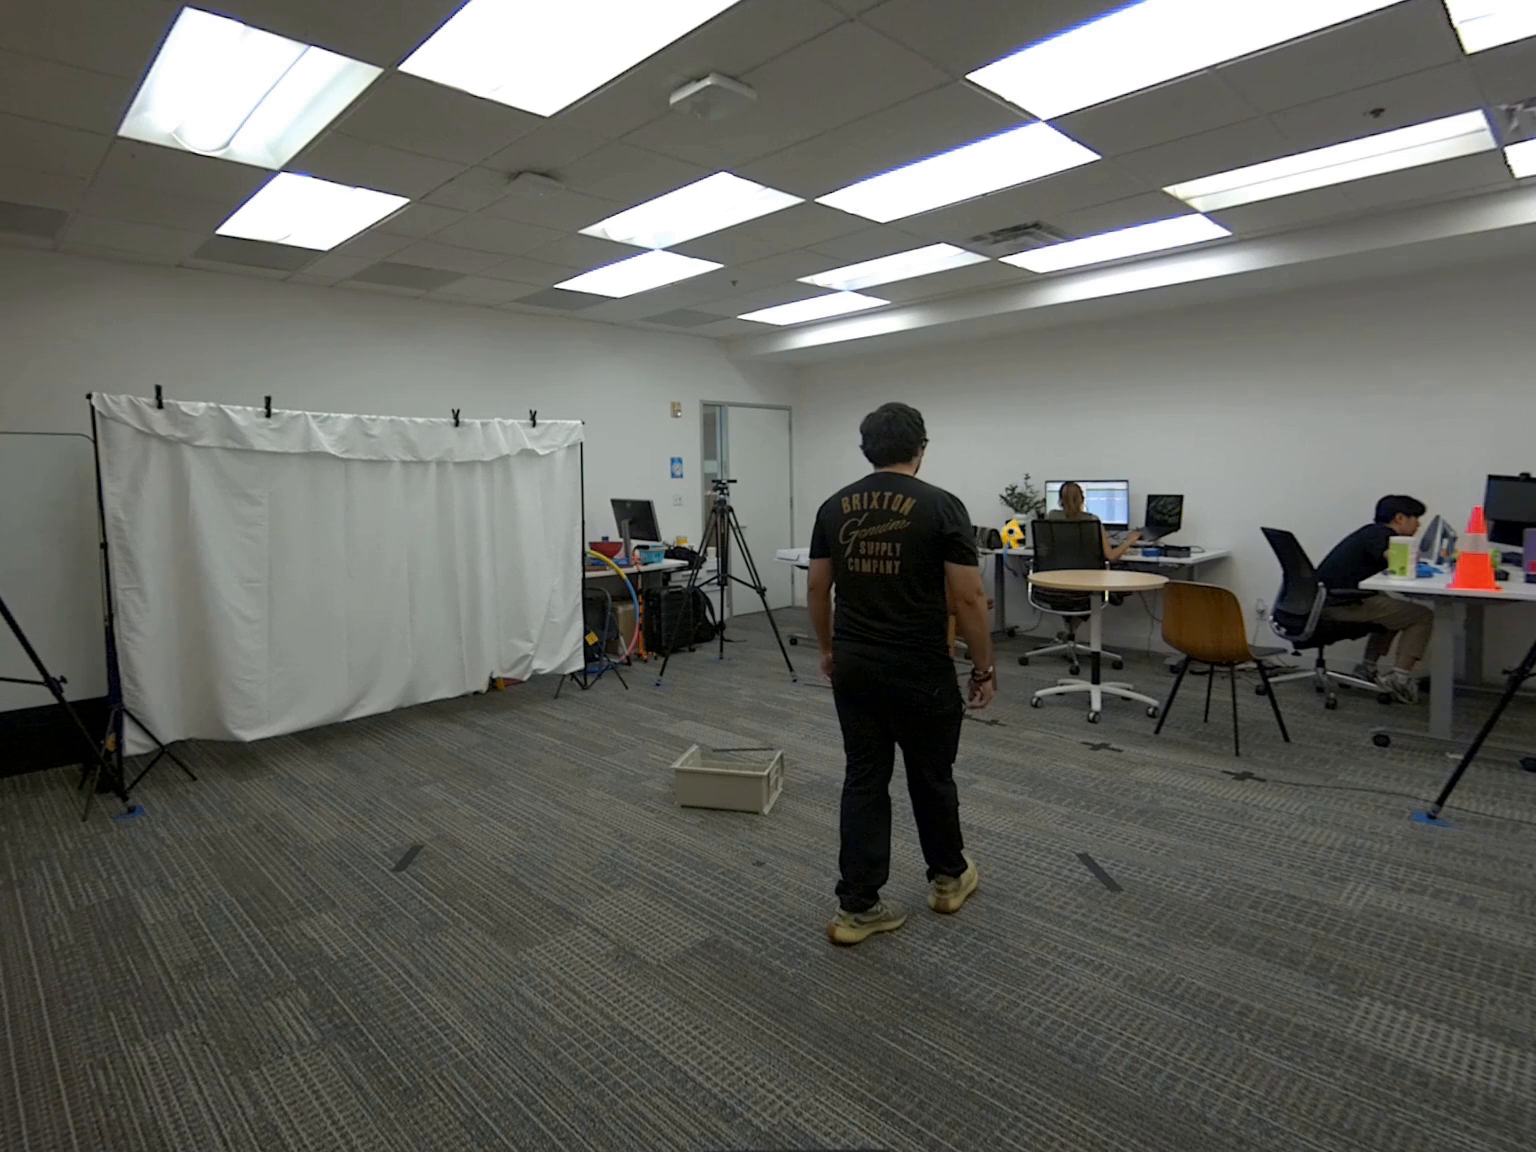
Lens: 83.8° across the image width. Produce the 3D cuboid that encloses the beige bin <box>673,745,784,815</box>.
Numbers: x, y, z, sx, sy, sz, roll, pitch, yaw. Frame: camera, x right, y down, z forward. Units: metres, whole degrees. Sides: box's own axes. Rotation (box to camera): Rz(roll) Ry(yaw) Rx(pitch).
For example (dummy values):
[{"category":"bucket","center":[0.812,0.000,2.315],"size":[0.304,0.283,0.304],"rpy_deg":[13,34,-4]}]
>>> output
[{"category":"beige bin","center":[-0.168,0.887,3.782],"size":[0.429,0.188,0.374],"rpy_deg":[1,7,15]}]
